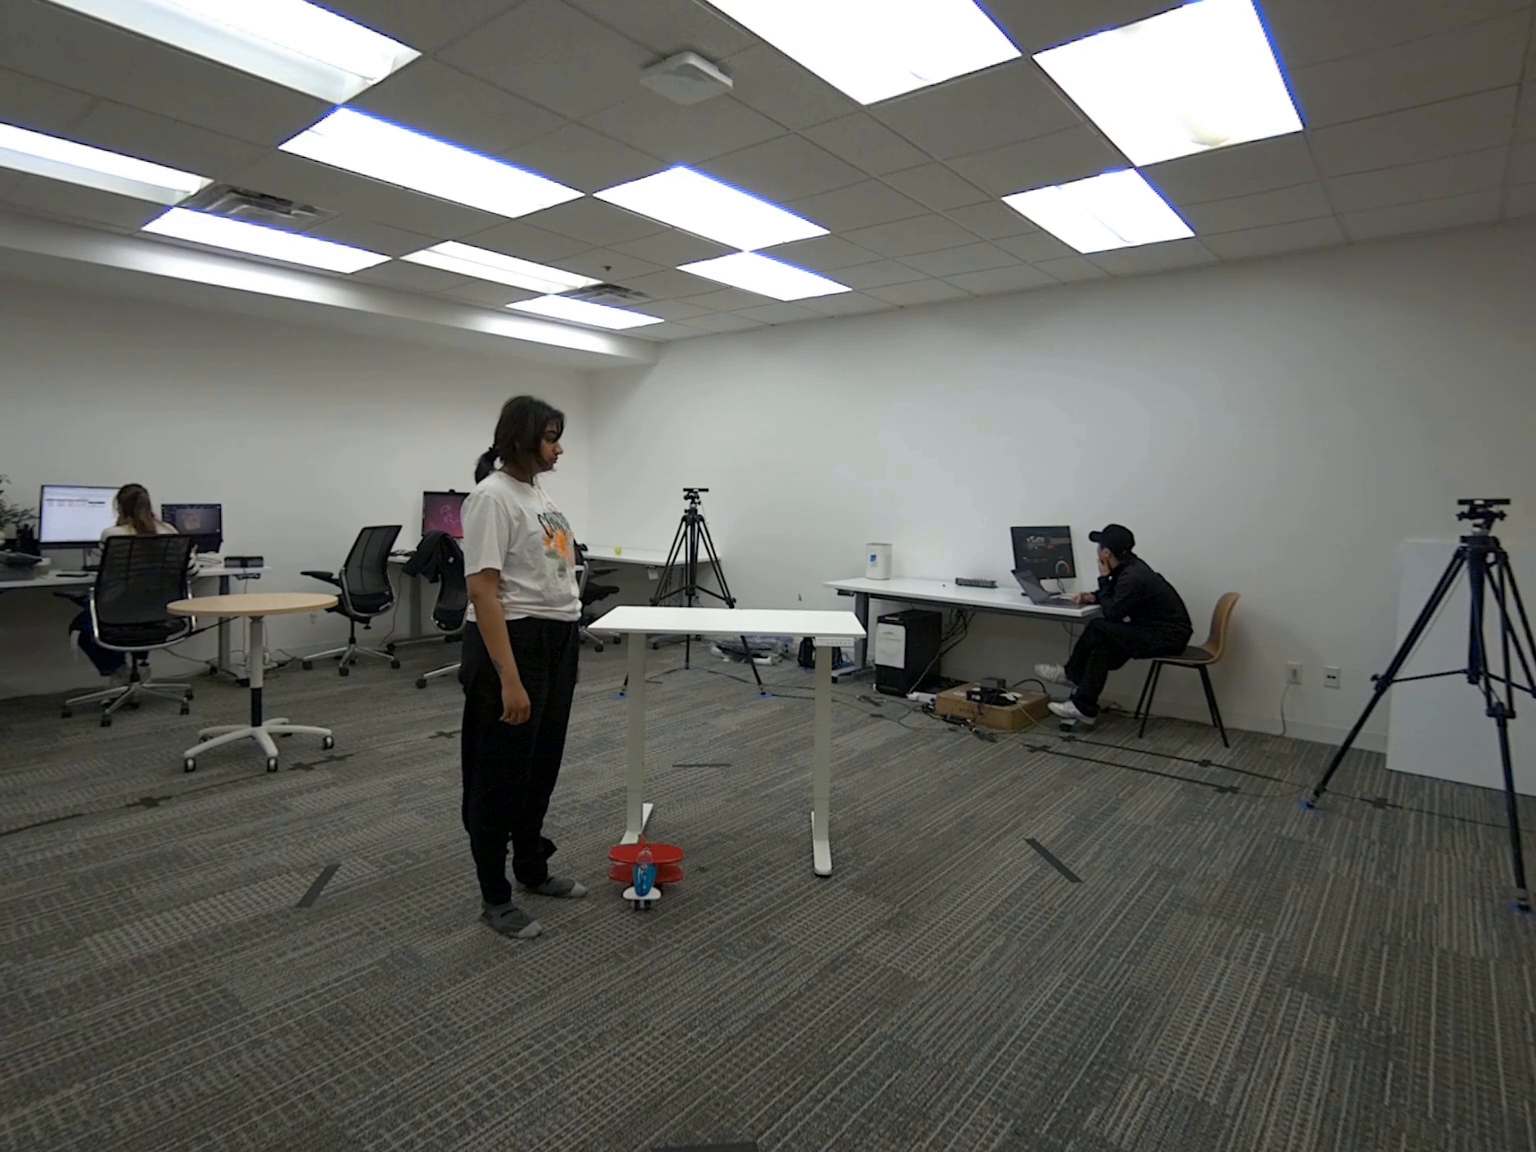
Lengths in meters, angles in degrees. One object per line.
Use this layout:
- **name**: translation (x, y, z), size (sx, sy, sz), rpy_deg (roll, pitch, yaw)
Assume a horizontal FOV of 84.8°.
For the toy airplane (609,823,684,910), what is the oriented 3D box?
- **toy airplane**: translation (-0.408, 1.027, 2.886), size (0.244, 0.155, 0.268), rpy_deg (-4, 7, -32)
